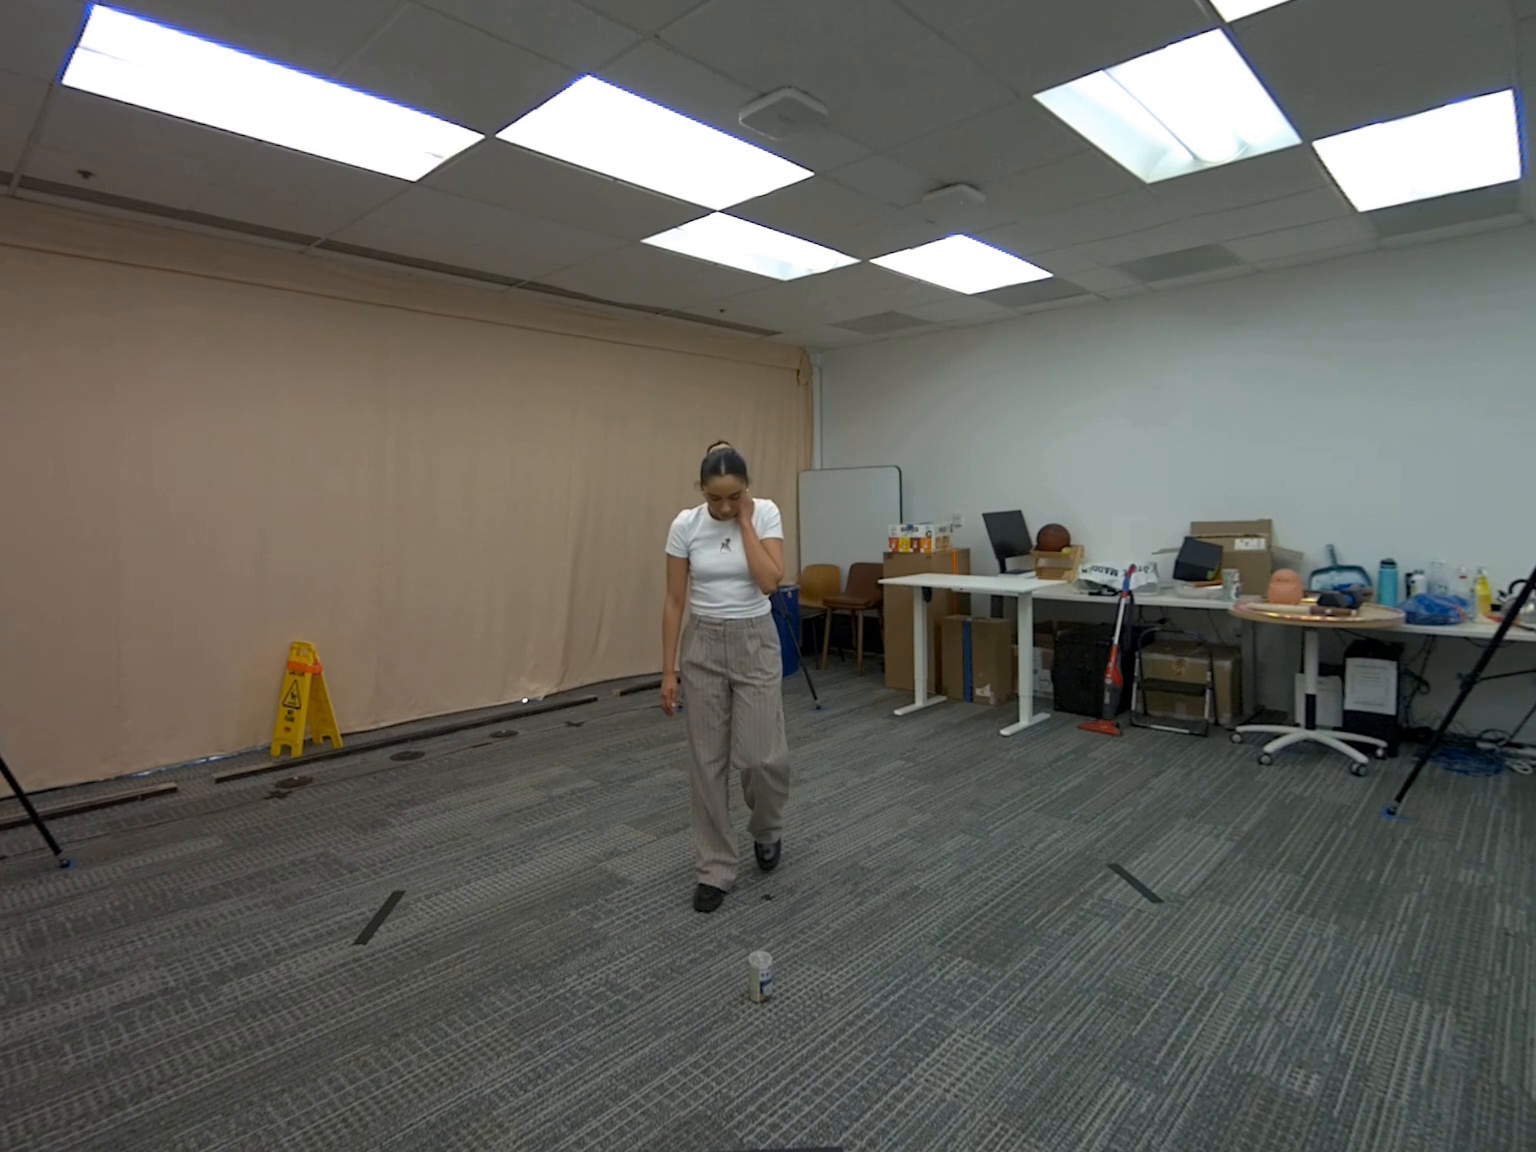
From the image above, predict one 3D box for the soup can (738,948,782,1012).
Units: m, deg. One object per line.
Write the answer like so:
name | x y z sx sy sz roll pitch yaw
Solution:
soup can | -0.023 1.121 2.378 0.067 0.121 0.067 -3 6 -1
